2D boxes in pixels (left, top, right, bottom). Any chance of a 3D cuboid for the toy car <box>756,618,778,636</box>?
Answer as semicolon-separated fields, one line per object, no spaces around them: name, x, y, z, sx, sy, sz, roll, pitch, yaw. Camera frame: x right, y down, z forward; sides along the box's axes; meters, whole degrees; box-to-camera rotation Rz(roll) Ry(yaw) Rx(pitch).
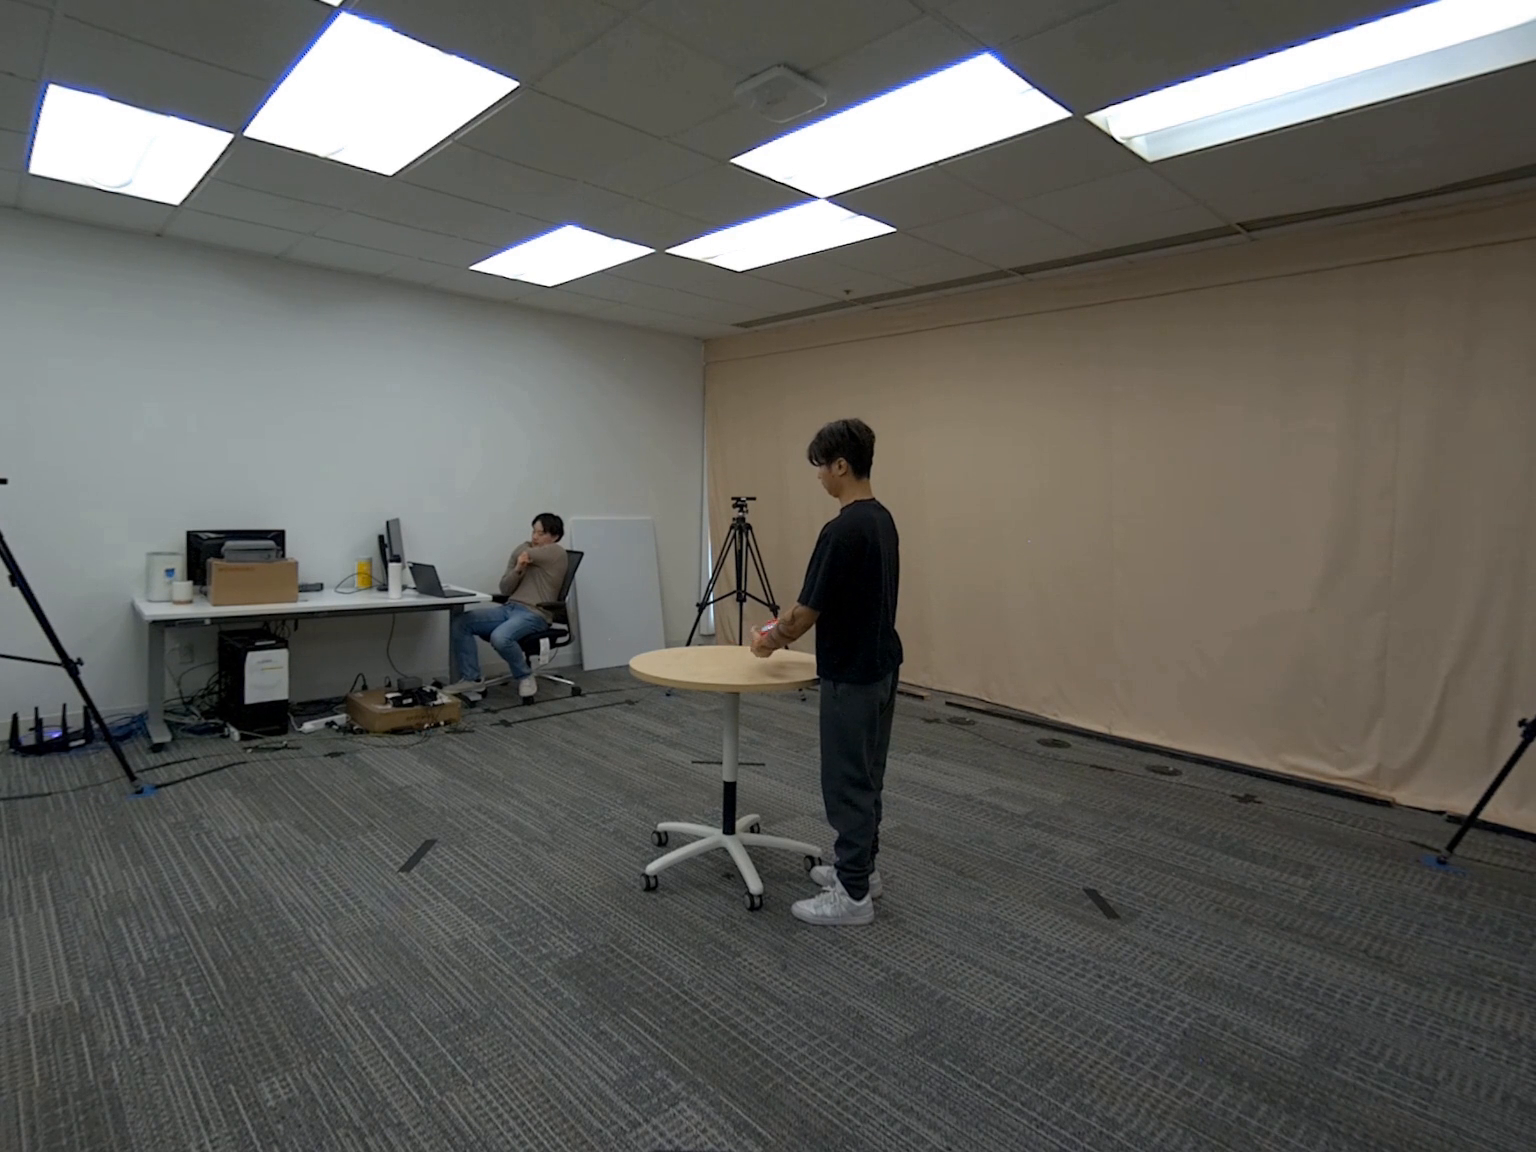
toy car;0.009;0.210;3.014;0.130;0.083;0.254;-18;3;3
